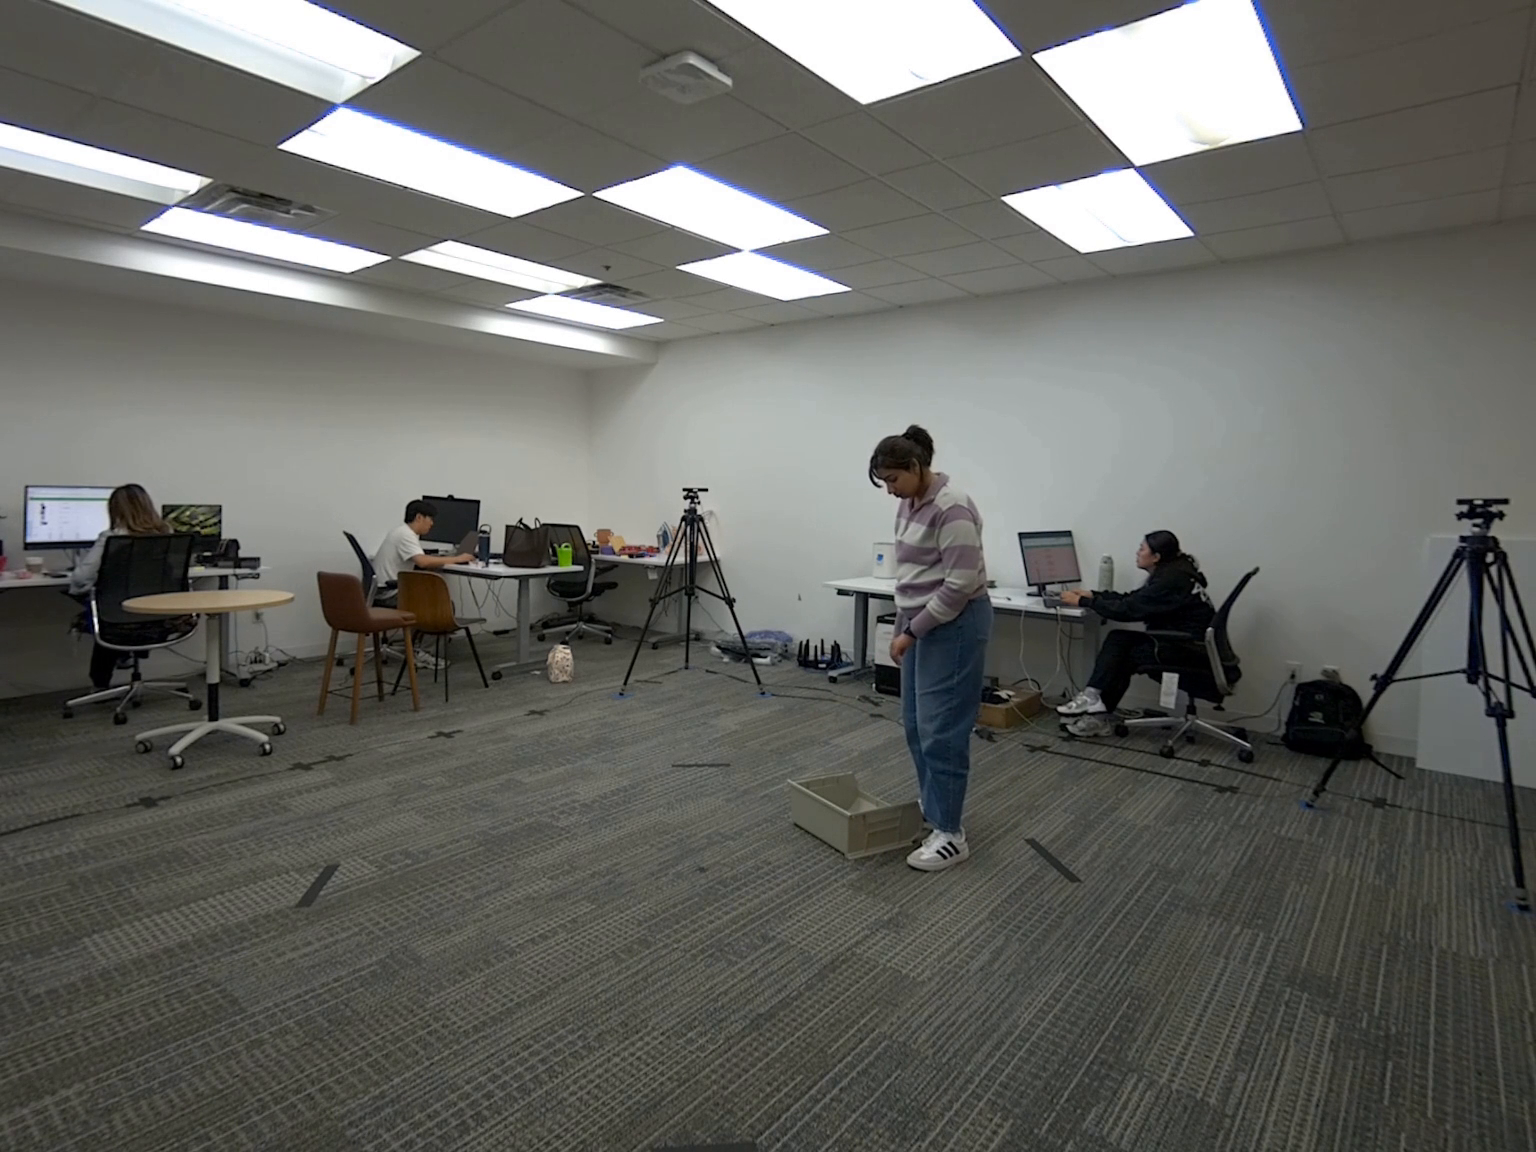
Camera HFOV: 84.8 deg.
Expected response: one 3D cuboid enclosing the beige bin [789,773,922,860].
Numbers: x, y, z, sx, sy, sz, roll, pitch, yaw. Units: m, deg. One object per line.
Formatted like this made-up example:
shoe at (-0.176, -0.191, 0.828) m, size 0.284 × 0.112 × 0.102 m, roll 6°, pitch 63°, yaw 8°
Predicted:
beige bin at (0.343, 0.958, 3.483) m, size 0.367 × 0.188 × 0.436 m, roll -3°, pitch 7°, yaw -31°
